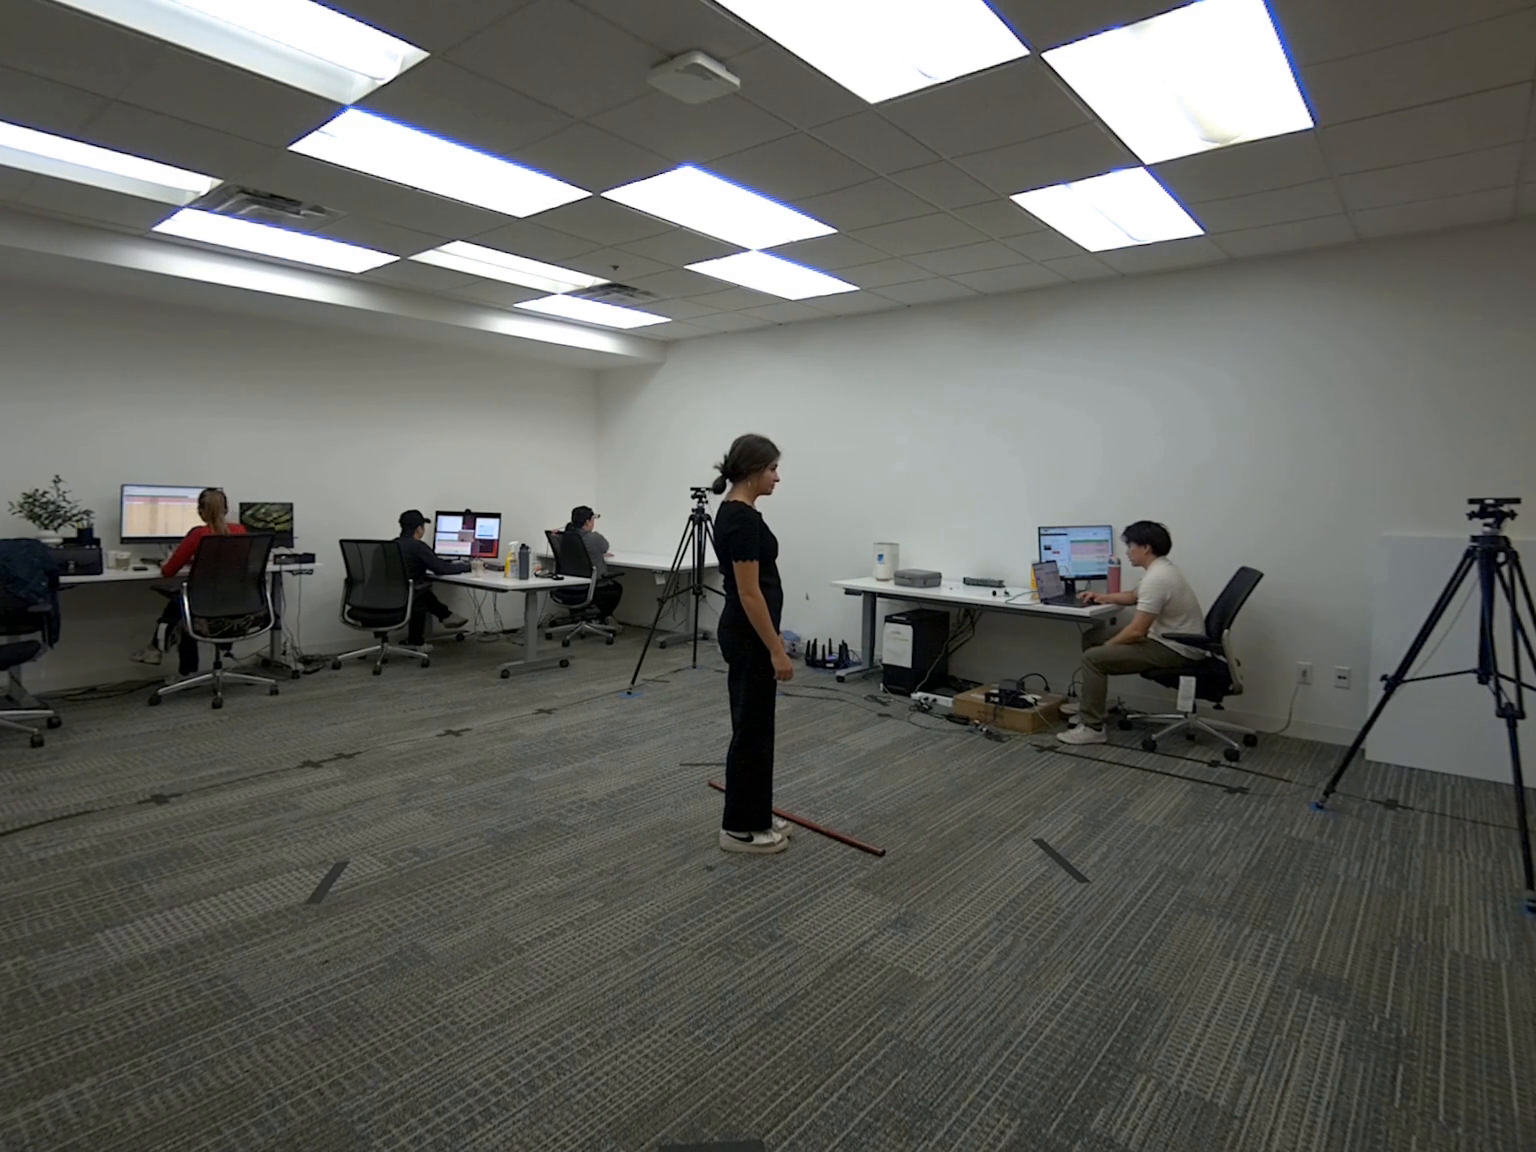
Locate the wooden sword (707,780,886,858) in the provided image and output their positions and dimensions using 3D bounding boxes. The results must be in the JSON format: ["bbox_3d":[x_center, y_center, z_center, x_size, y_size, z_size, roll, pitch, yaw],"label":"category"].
[{"bbox_3d":[0.059,1.003,3.619,0.049,0.024,1.060,3,3,-43],"label":"wooden sword"}]
